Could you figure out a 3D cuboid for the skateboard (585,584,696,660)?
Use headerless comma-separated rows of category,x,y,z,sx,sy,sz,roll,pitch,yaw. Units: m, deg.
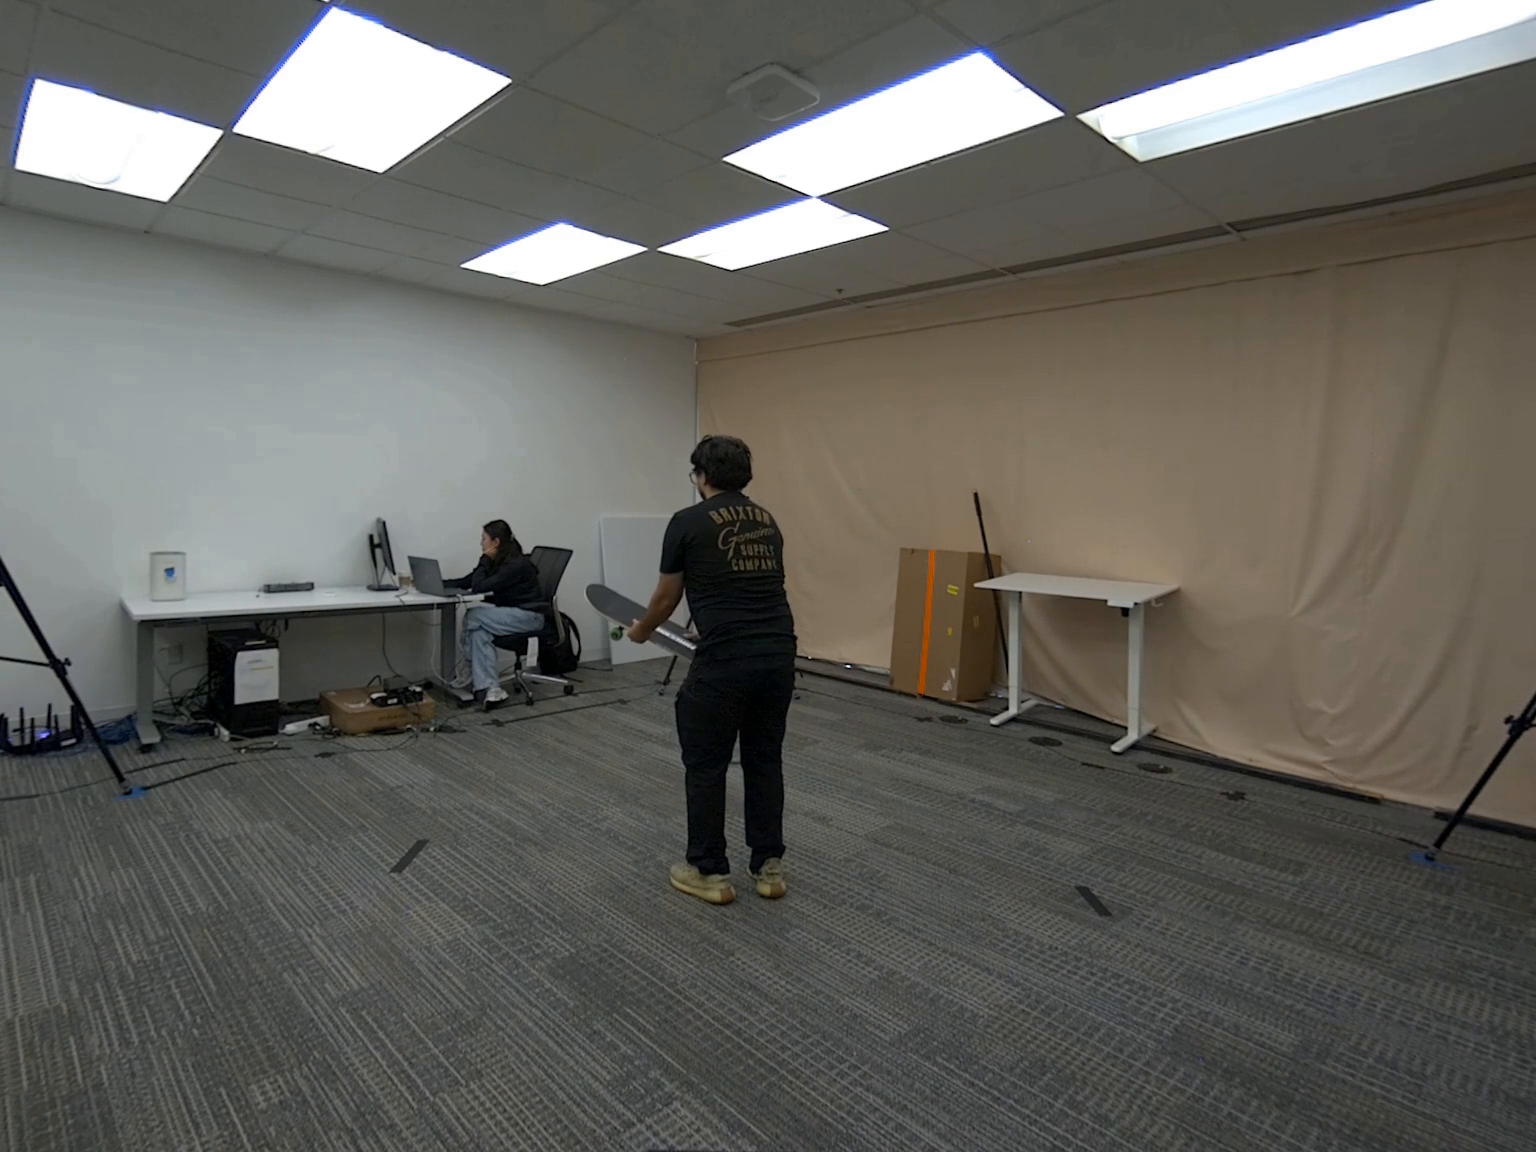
skateboard,-0.393,0.278,3.348,0.786,0.109,0.194,28,25,1
